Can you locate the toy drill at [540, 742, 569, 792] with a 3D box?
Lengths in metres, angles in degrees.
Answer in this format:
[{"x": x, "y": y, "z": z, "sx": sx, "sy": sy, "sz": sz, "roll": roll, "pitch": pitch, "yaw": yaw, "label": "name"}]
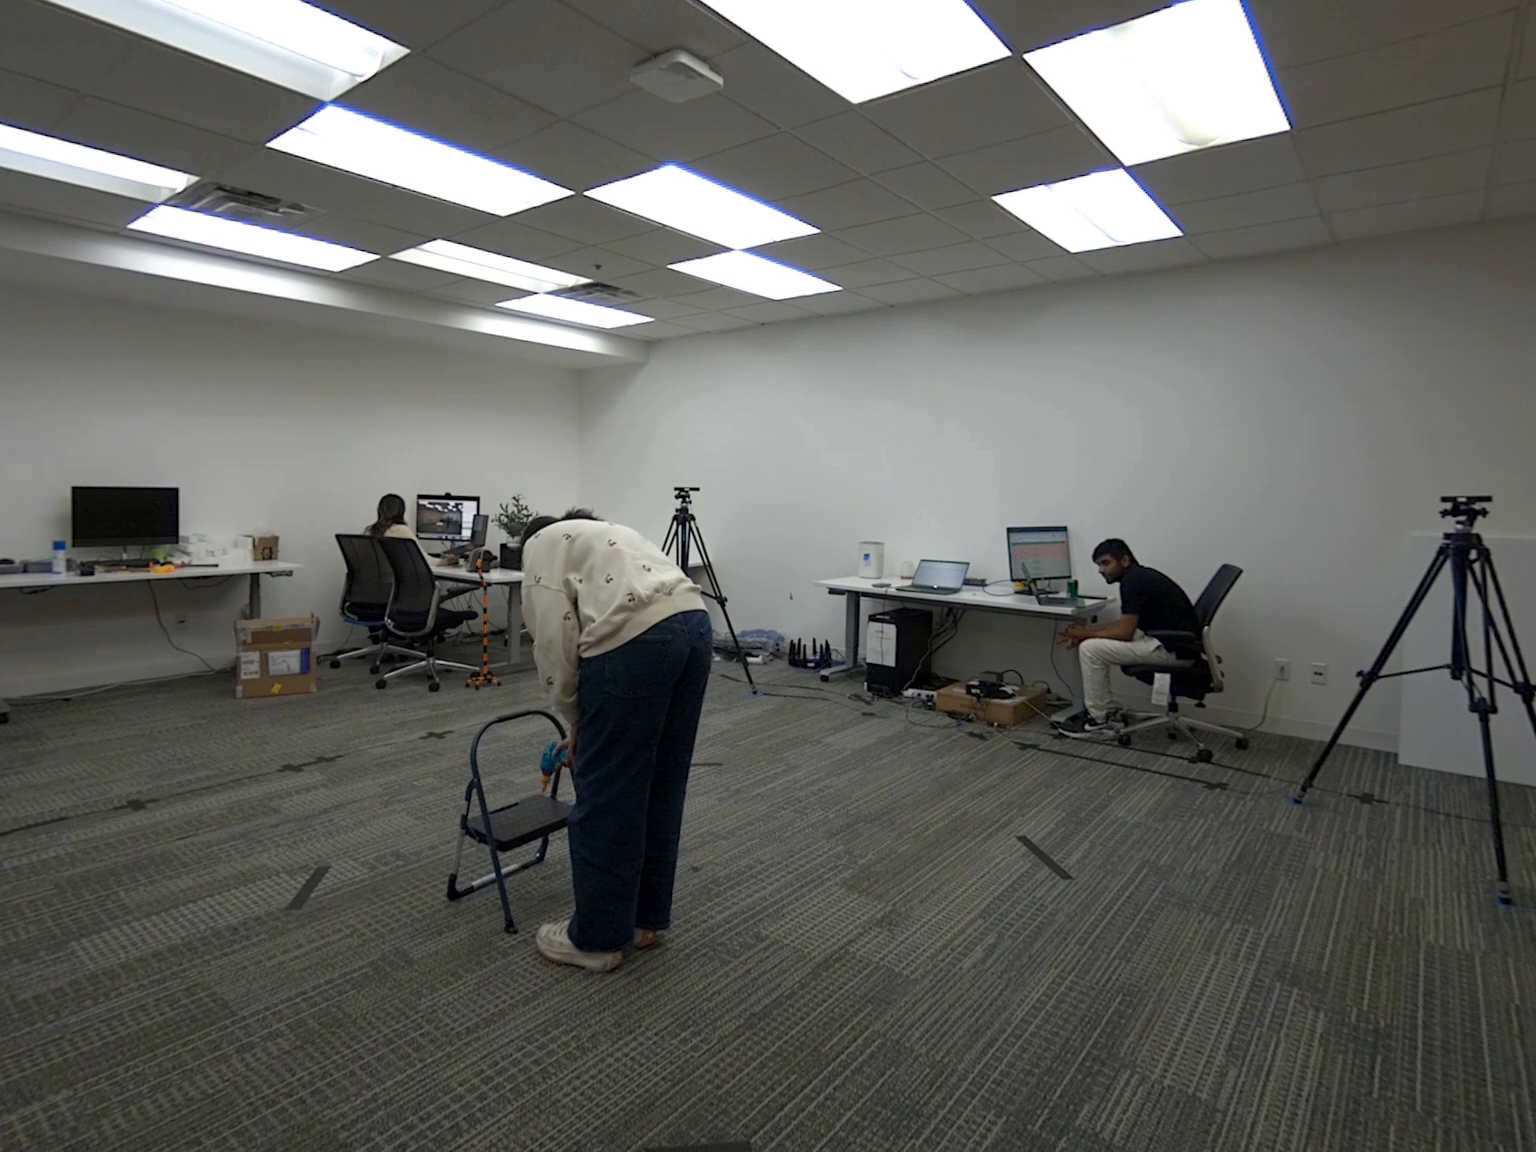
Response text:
[{"x": -0.715, "y": 0.639, "z": 2.838, "sx": 0.148, "sy": 0.172, "sz": 0.059, "roll": -1, "pitch": -16, "yaw": 15, "label": "toy drill"}]
